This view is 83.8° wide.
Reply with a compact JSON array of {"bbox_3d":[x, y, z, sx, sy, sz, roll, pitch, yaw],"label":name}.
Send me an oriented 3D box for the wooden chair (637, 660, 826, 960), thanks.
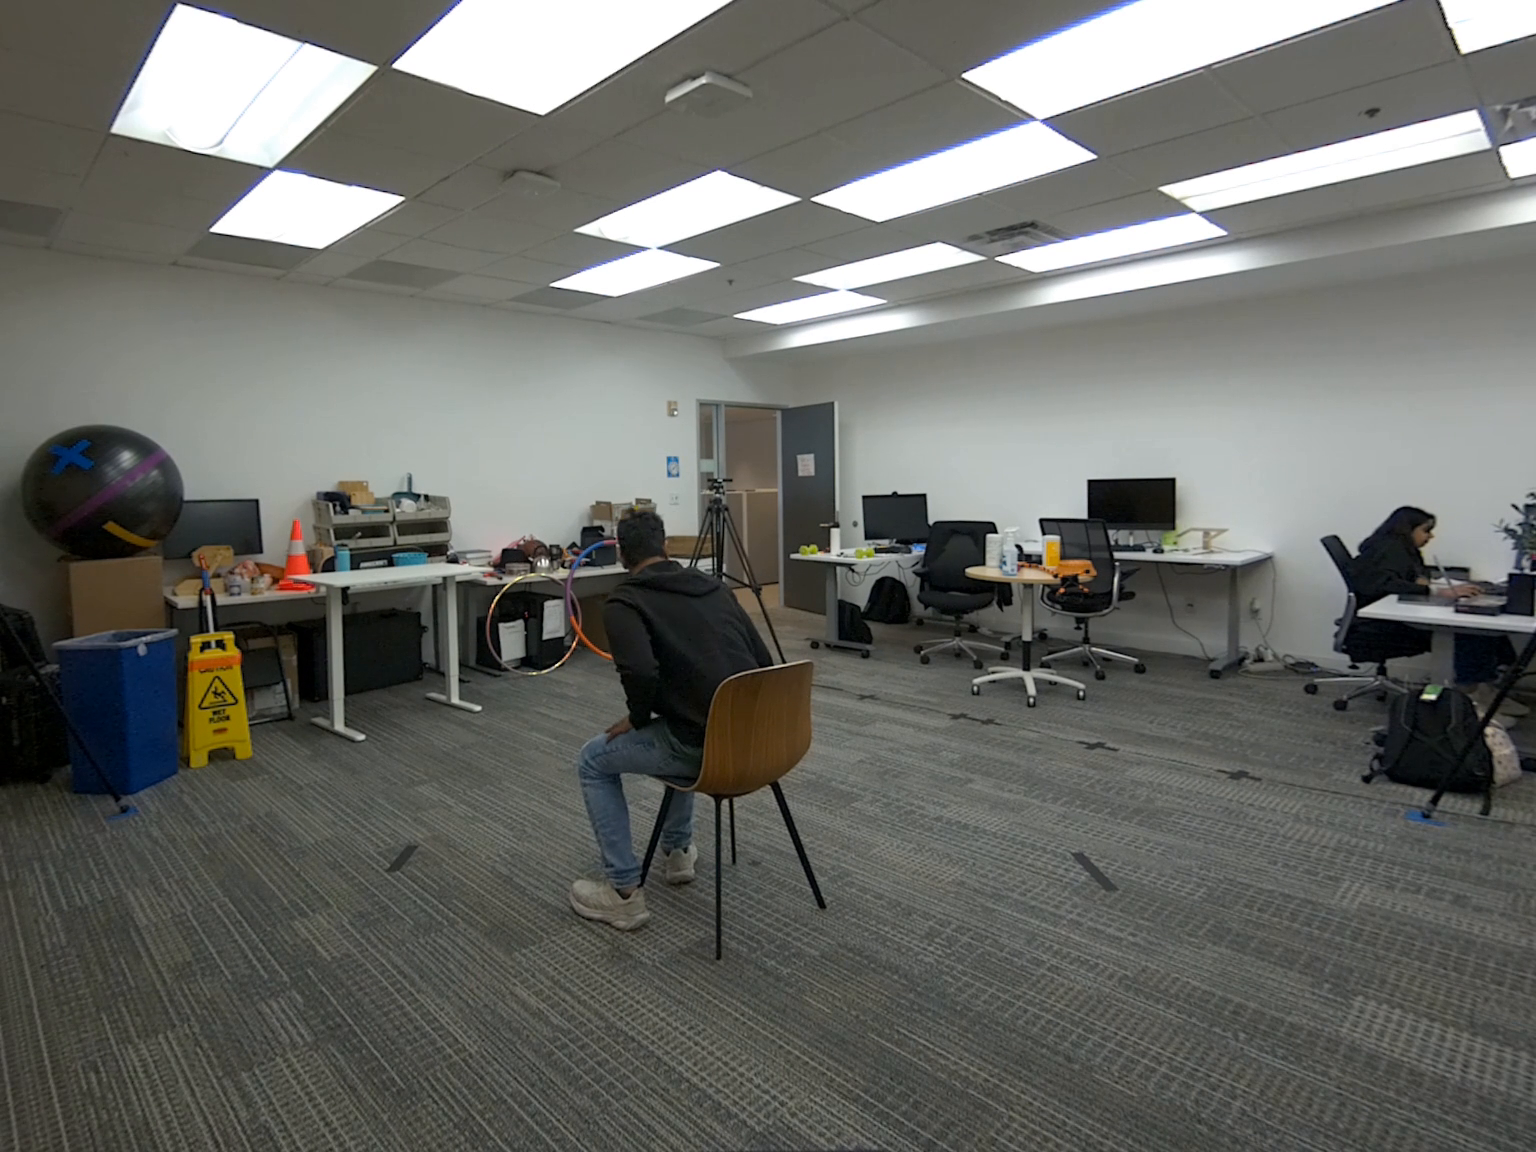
[{"bbox_3d":[-0.138,0.655,2.783,0.465,0.872,0.540,-5,10,-41],"label":"wooden chair"}]
